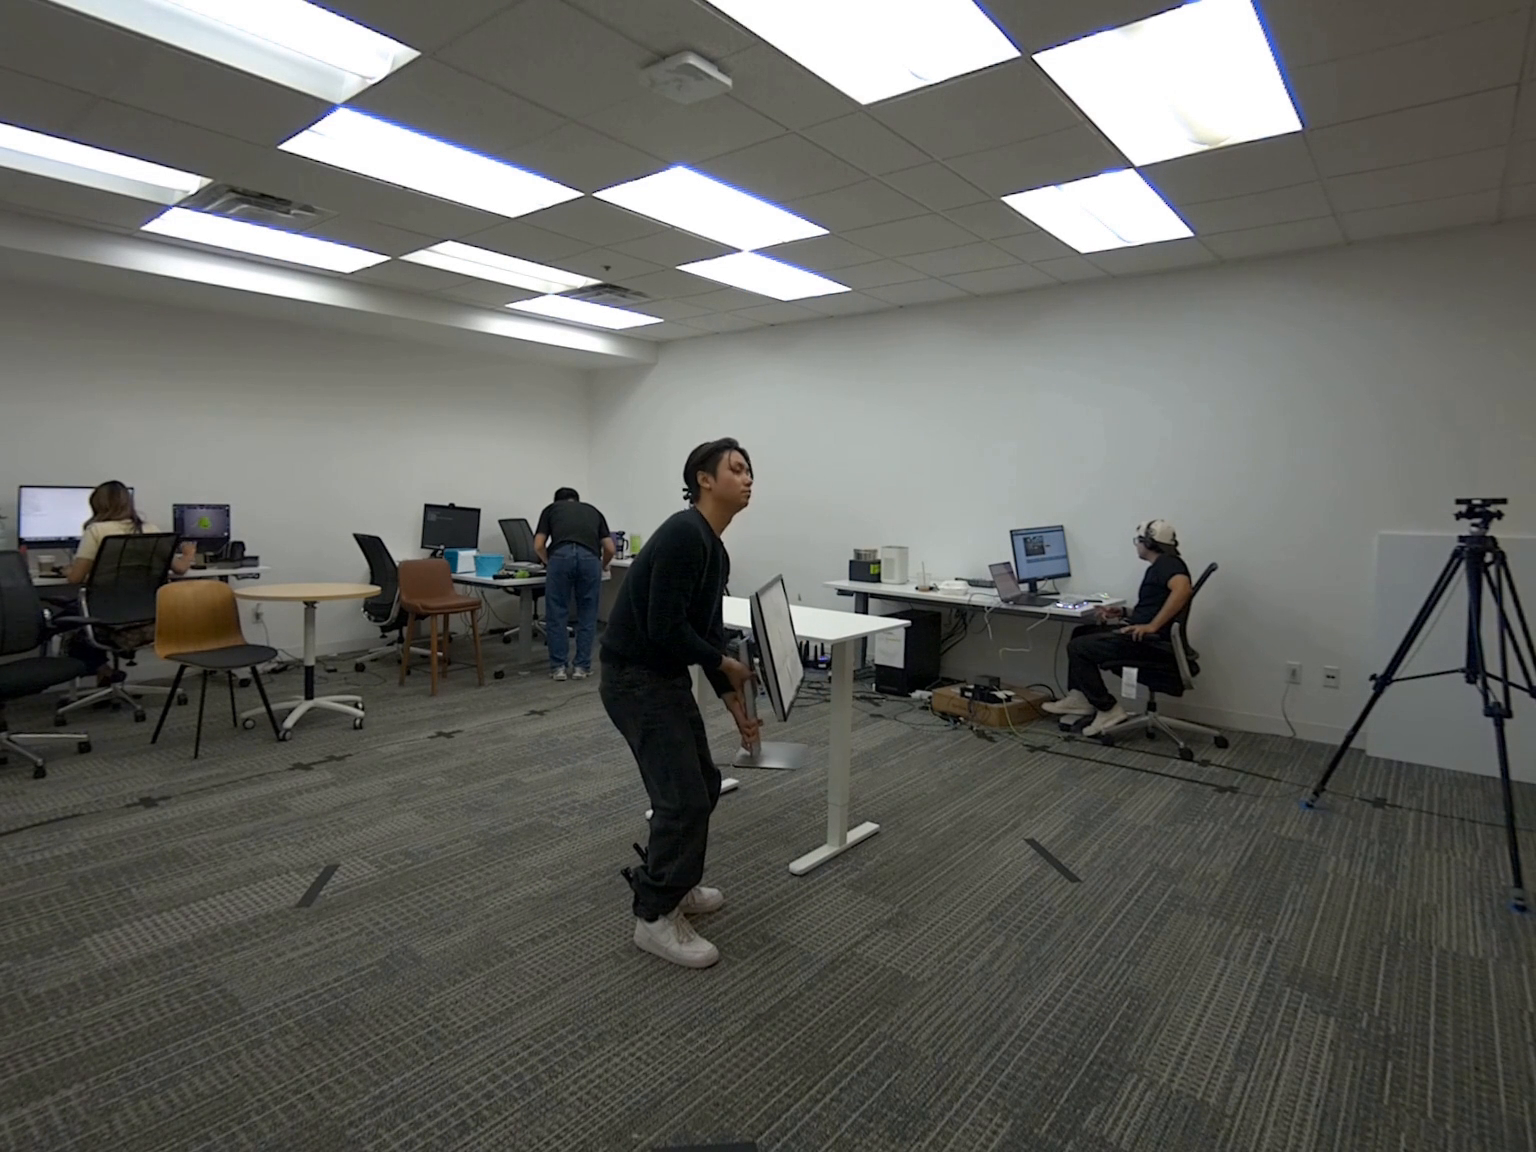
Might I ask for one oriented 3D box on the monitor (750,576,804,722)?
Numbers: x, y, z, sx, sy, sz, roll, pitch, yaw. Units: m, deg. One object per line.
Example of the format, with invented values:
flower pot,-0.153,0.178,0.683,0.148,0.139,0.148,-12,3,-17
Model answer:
monitor,-0.010,0.285,2.601,0.189,0.520,0.536,-2,5,8
